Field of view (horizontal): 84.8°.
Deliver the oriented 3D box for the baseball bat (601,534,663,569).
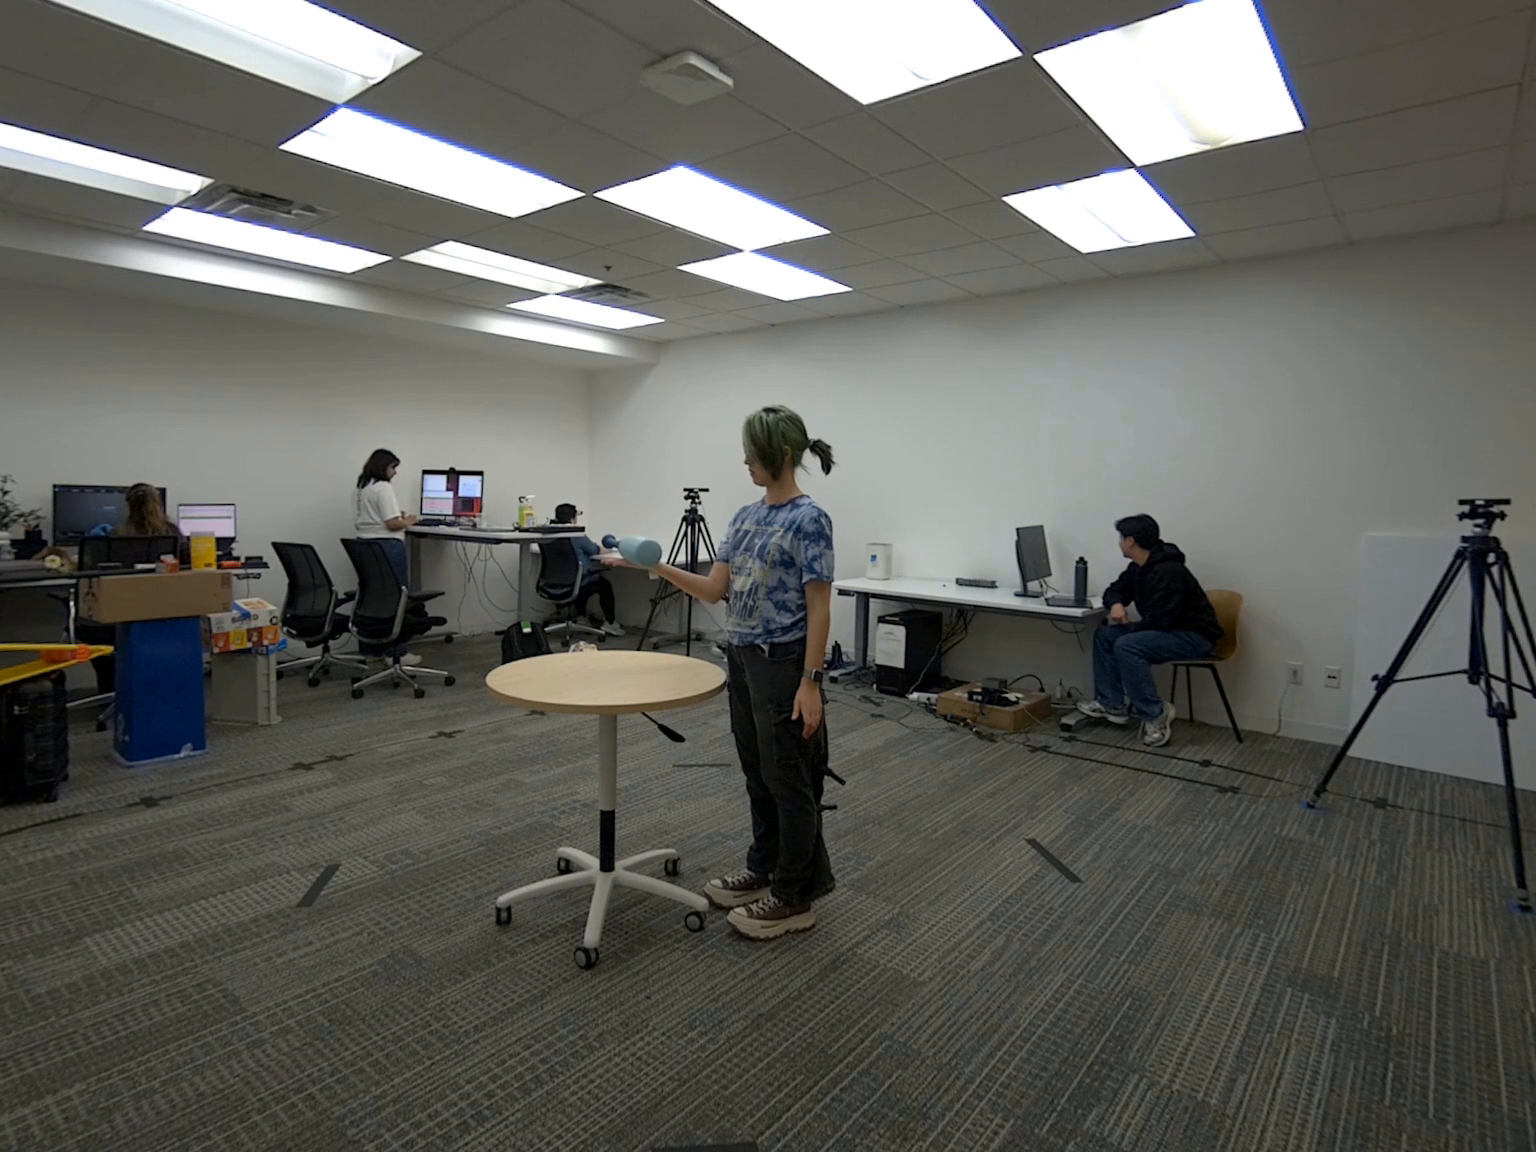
[{"bbox_3d":[-0.470,-0.091,2.716,0.087,0.089,0.556,-1,6,-22],"label":"baseball bat"}]
